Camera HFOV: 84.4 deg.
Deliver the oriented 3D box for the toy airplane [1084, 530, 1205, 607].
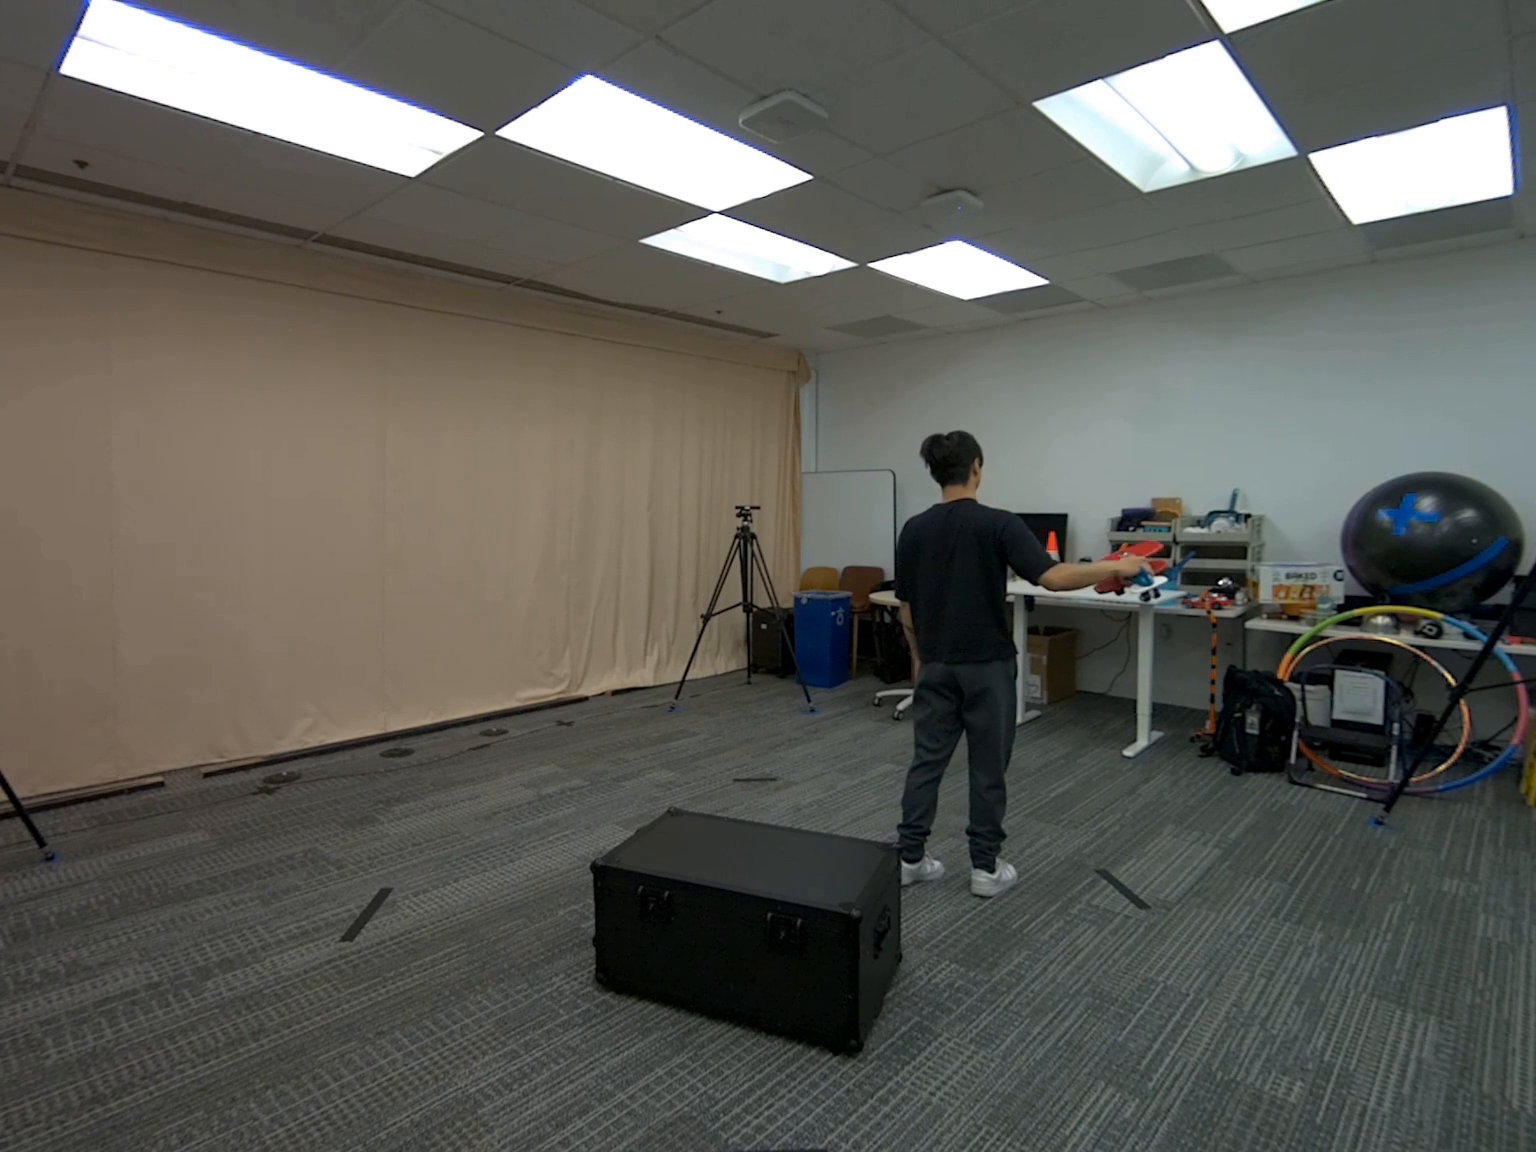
[{"bbox_3d":[1.289,-0.024,2.937,0.248,0.155,0.264,-28,8,-20],"label":"toy airplane"}]
